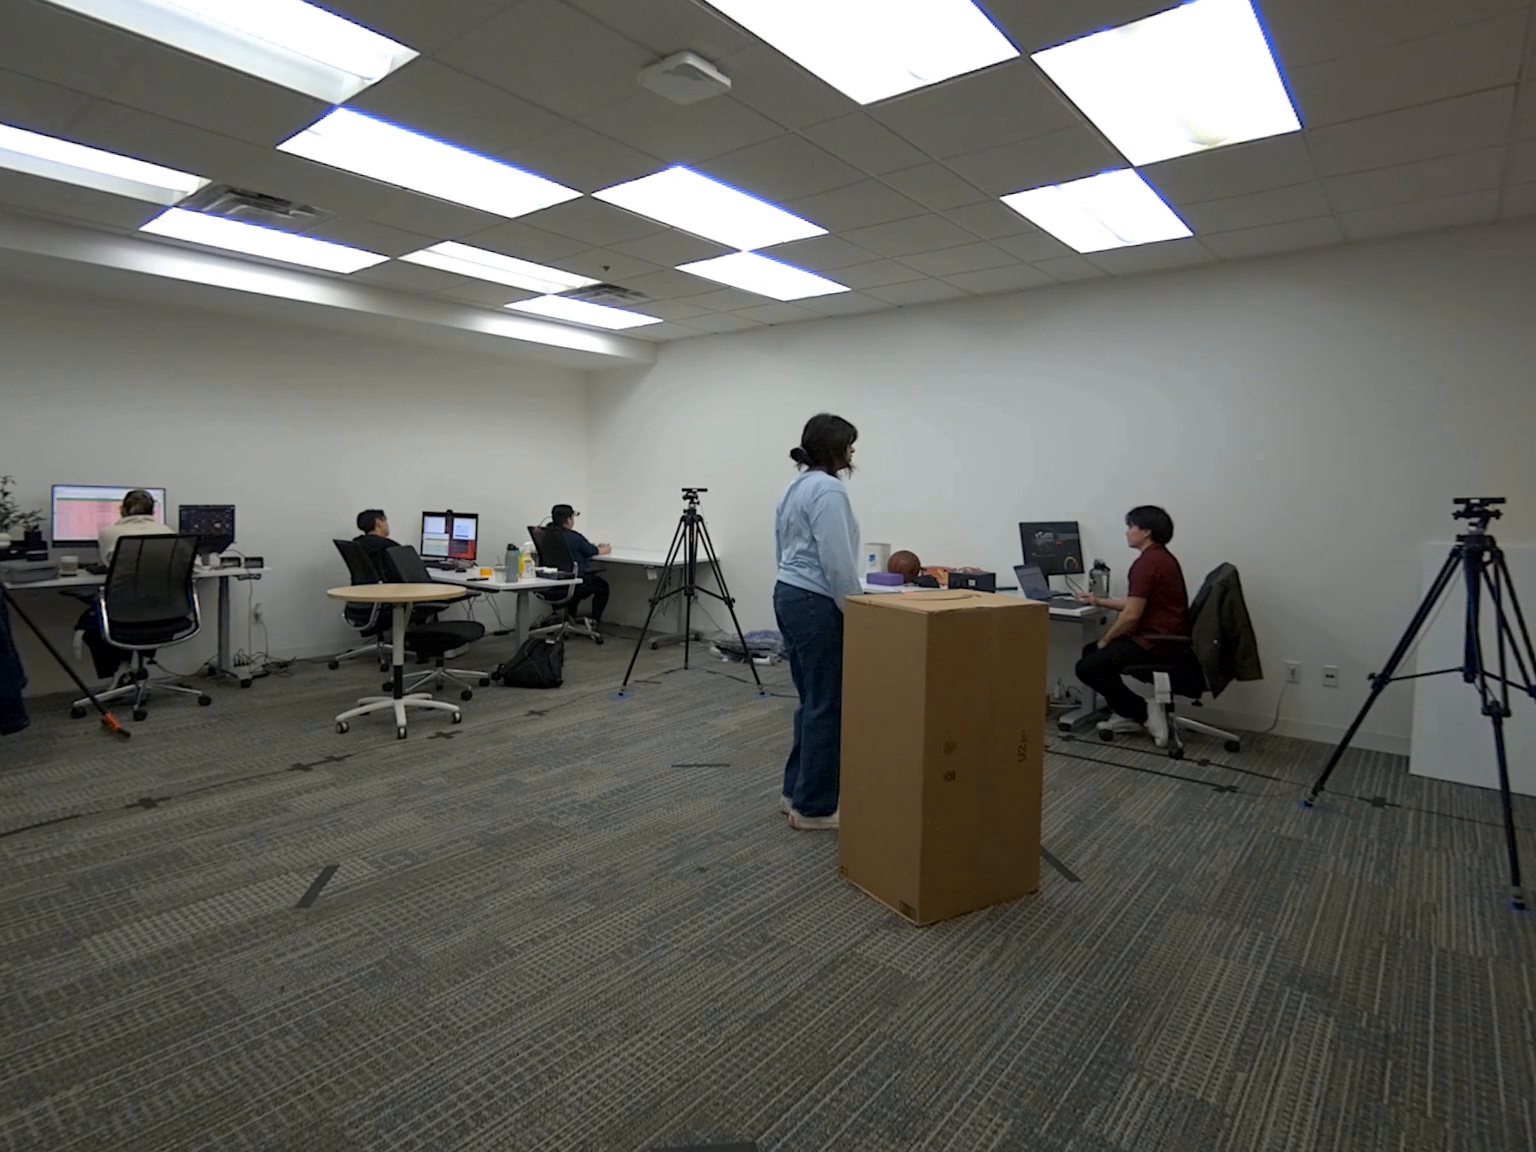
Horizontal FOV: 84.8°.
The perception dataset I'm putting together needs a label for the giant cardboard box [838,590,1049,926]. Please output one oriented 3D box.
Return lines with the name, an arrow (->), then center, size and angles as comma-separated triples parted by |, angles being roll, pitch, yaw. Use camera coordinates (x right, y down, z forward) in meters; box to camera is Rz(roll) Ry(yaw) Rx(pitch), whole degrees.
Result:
giant cardboard box -> 0.610, 0.584, 3.021 | 0.562, 1.023, 0.439 | -1, 4, -32
